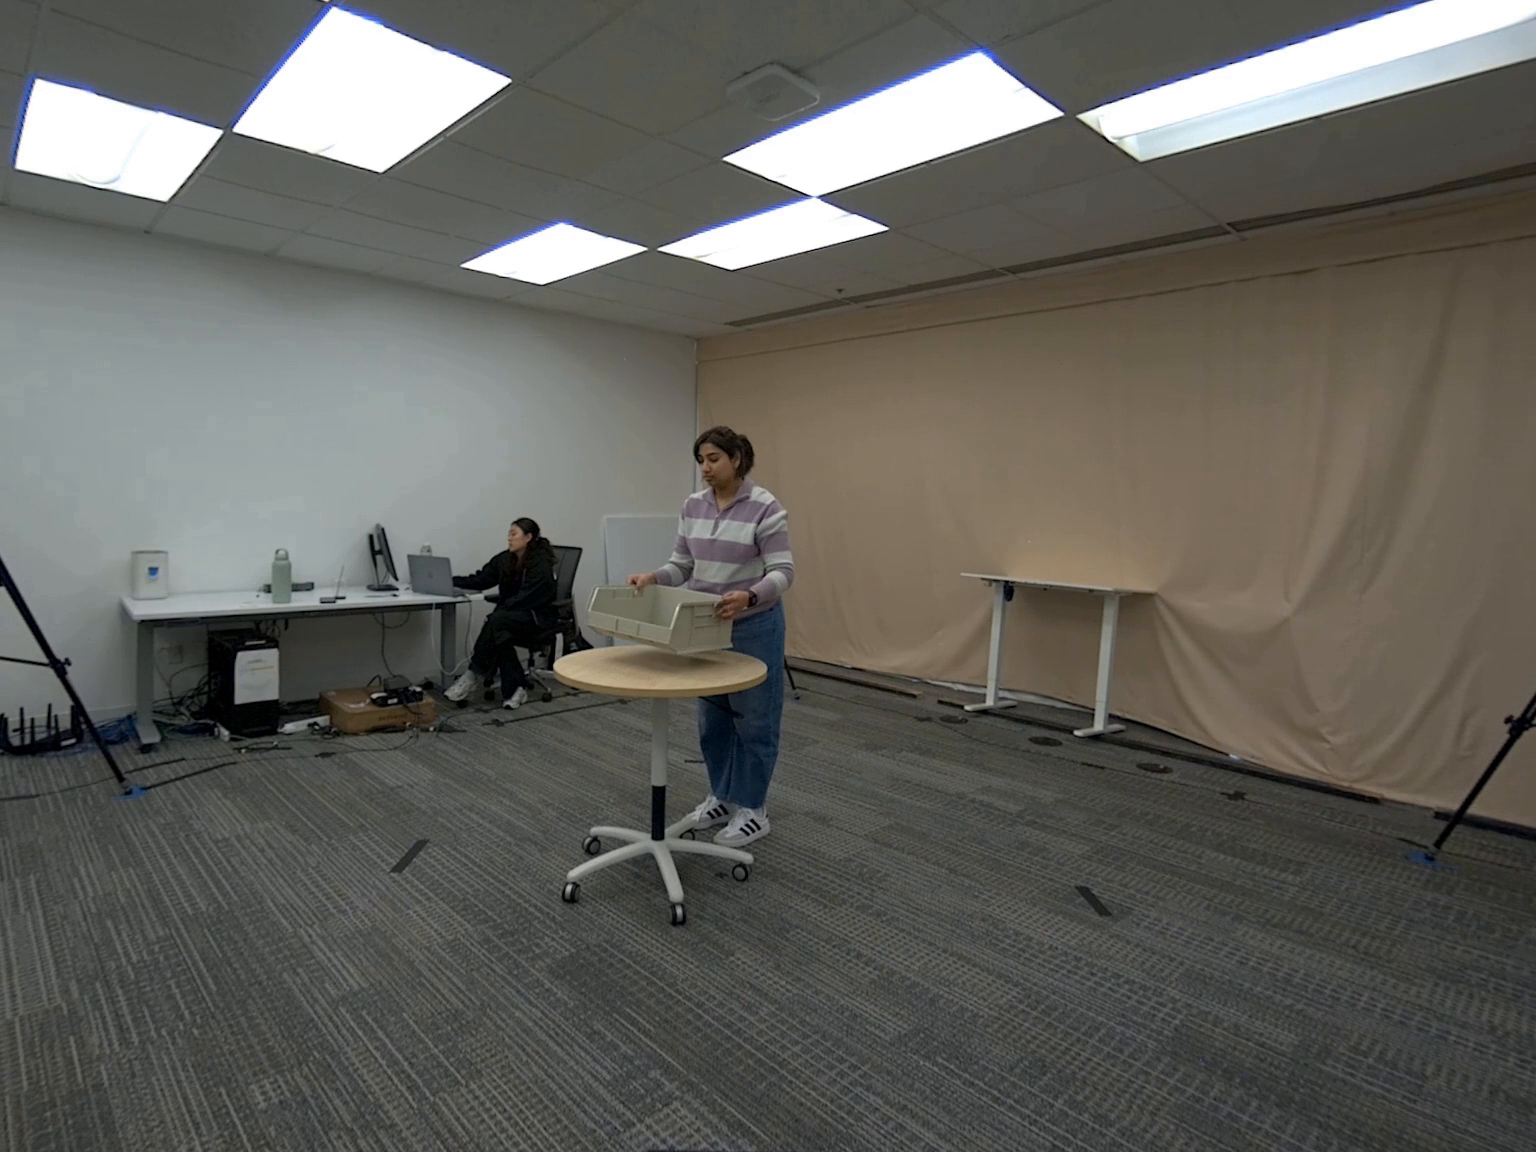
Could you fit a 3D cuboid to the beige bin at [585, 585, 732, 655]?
[{"bbox_3d":[-0.391,0.149,3.072,0.433,0.189,0.368,8,3,35],"label":"beige bin"}]
